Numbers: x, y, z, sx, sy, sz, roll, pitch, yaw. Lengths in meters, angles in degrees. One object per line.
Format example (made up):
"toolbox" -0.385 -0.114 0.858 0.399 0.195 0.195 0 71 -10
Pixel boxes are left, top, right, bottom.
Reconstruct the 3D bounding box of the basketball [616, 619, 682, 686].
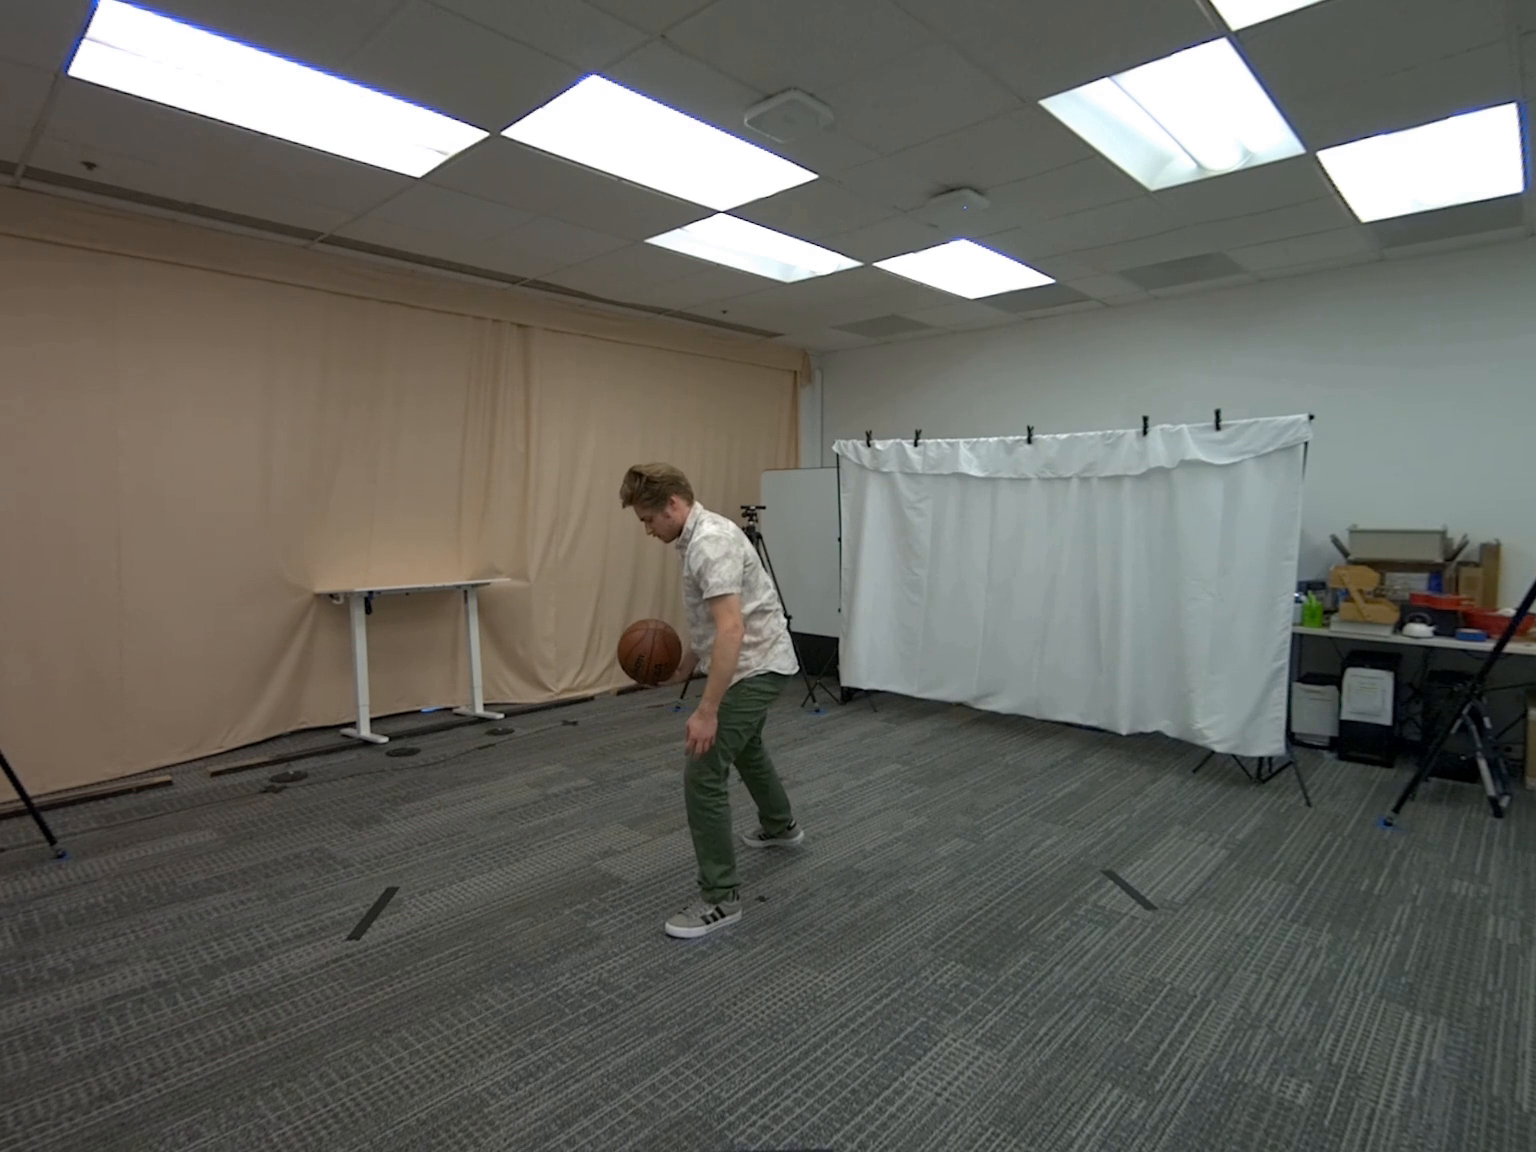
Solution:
"basketball" -0.434 0.279 3.106 0.236 0.235 0.237 0 4 -2
